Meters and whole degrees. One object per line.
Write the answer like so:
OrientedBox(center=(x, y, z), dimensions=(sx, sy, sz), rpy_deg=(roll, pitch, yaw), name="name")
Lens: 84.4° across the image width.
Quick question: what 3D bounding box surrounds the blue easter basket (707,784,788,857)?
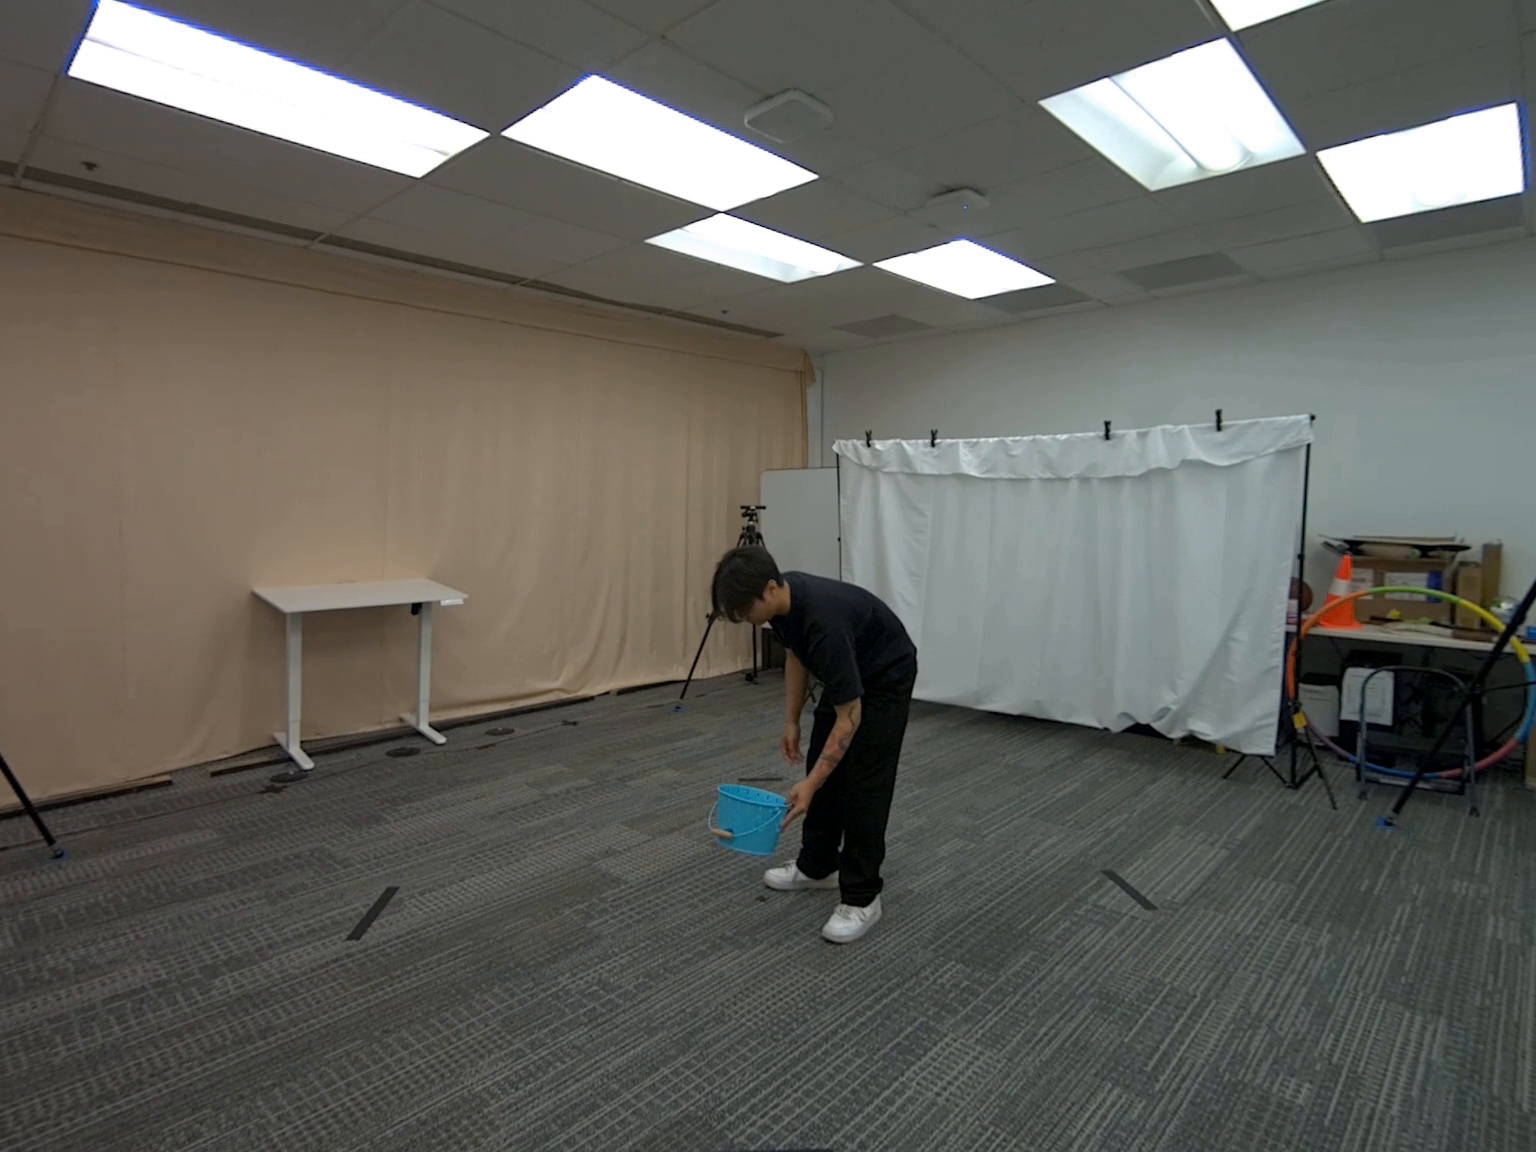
OrientedBox(center=(-0.057, 0.757, 2.561), dimensions=(0.244, 0.156, 0.243), rpy_deg=(11, -6, -1), name="blue easter basket")
